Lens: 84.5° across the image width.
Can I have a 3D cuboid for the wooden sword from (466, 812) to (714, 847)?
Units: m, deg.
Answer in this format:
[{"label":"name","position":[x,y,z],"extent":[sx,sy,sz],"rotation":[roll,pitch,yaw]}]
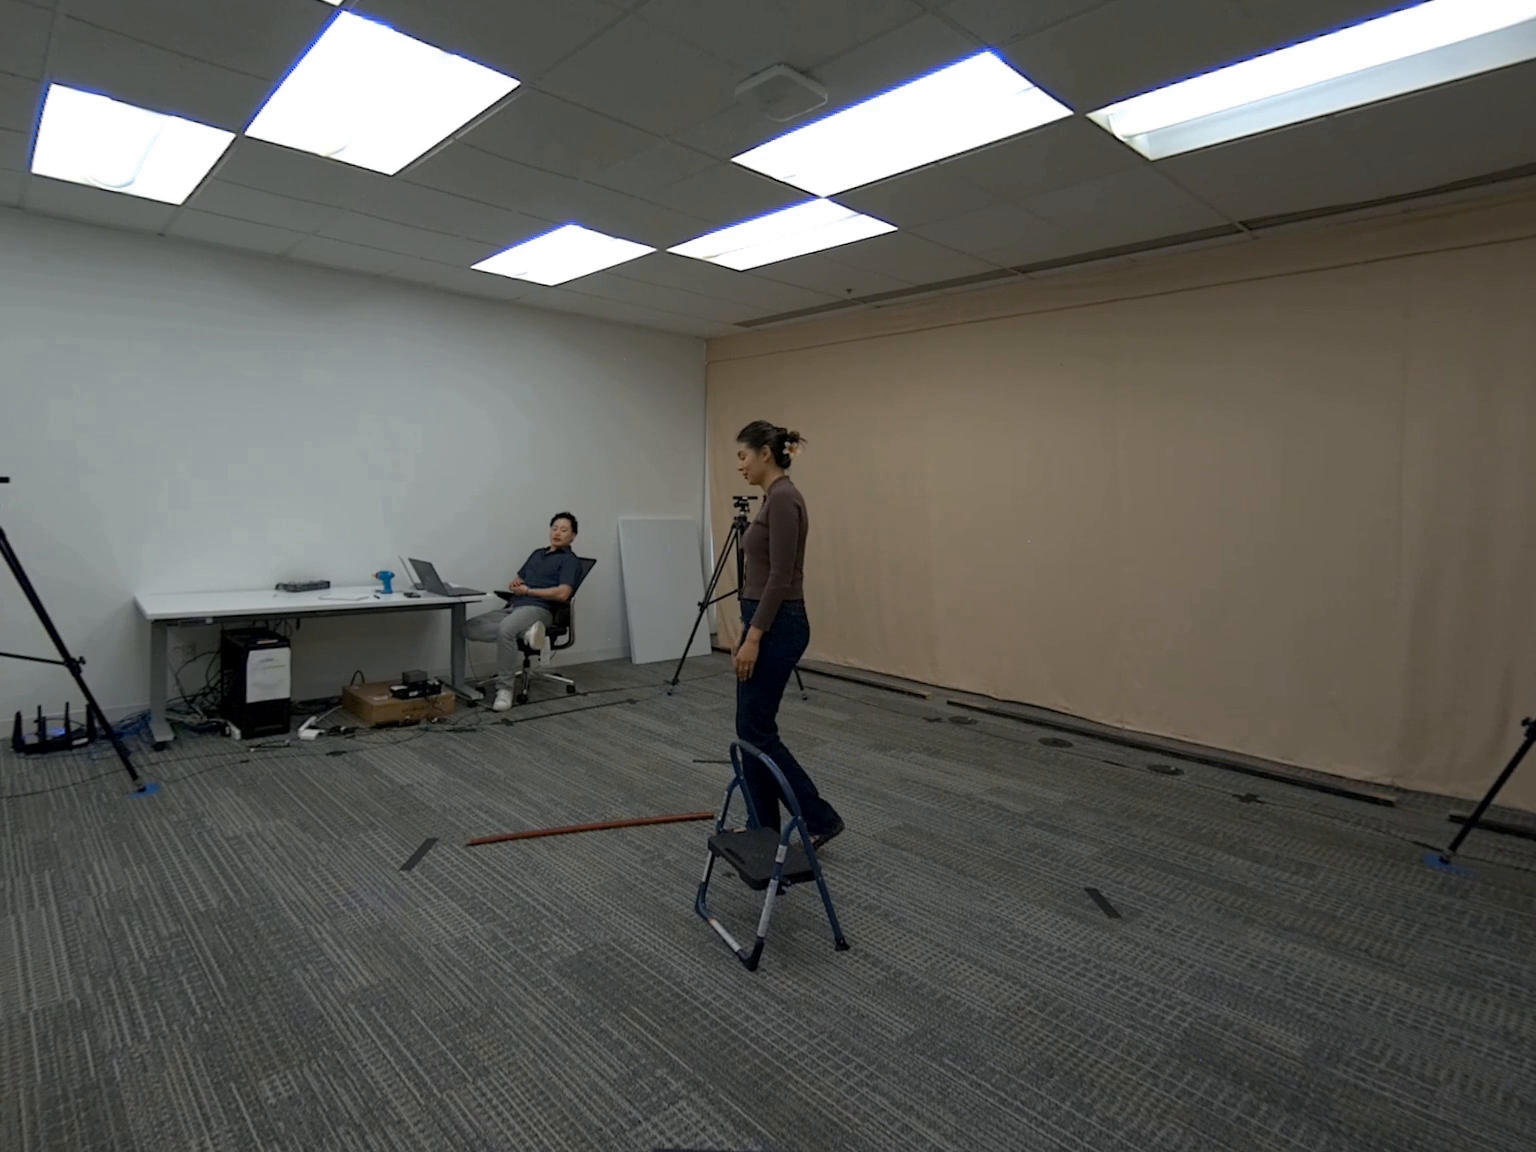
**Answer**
[{"label":"wooden sword","position":[-0.711,1.036,3.484],"extent":[1.009,0.024,0.052],"rotation":[-1,-4,-20]}]
